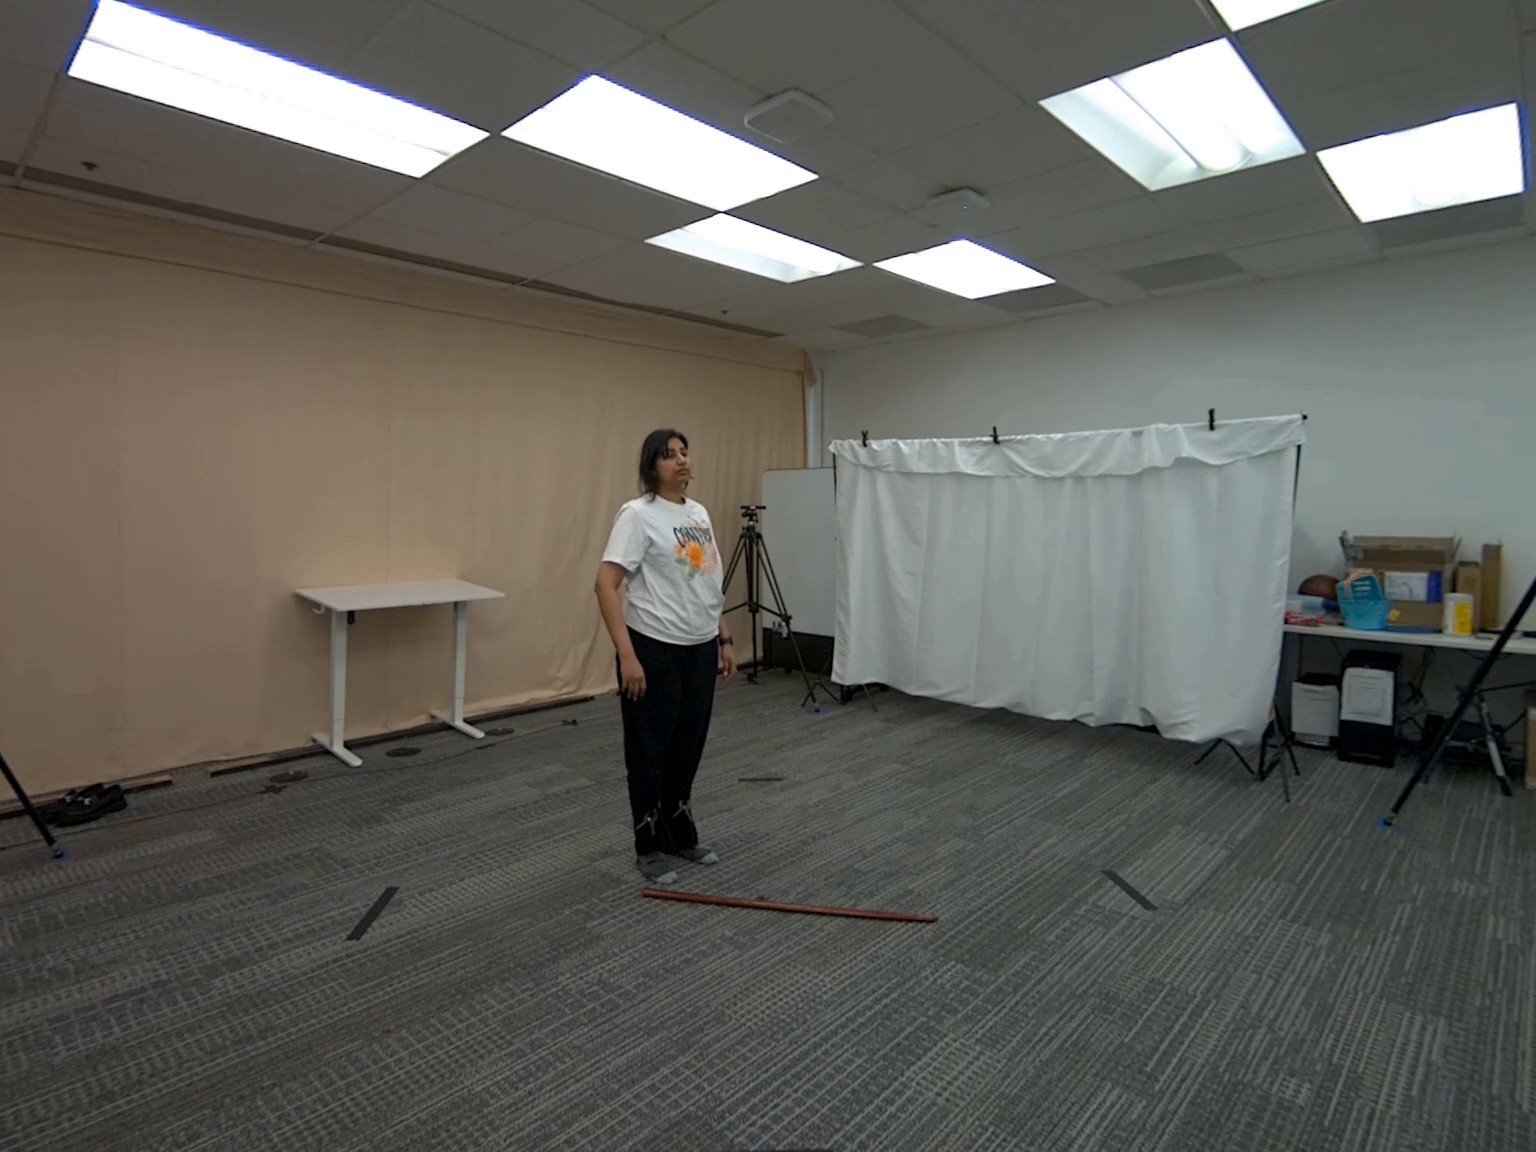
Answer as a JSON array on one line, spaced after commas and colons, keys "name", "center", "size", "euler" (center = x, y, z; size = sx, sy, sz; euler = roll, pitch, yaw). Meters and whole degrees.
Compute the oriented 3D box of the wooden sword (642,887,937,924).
[{"name": "wooden sword", "center": [0.065, 1.126, 2.900], "size": [1.037, 0.024, 0.051], "euler": [1, 26, 11]}]
